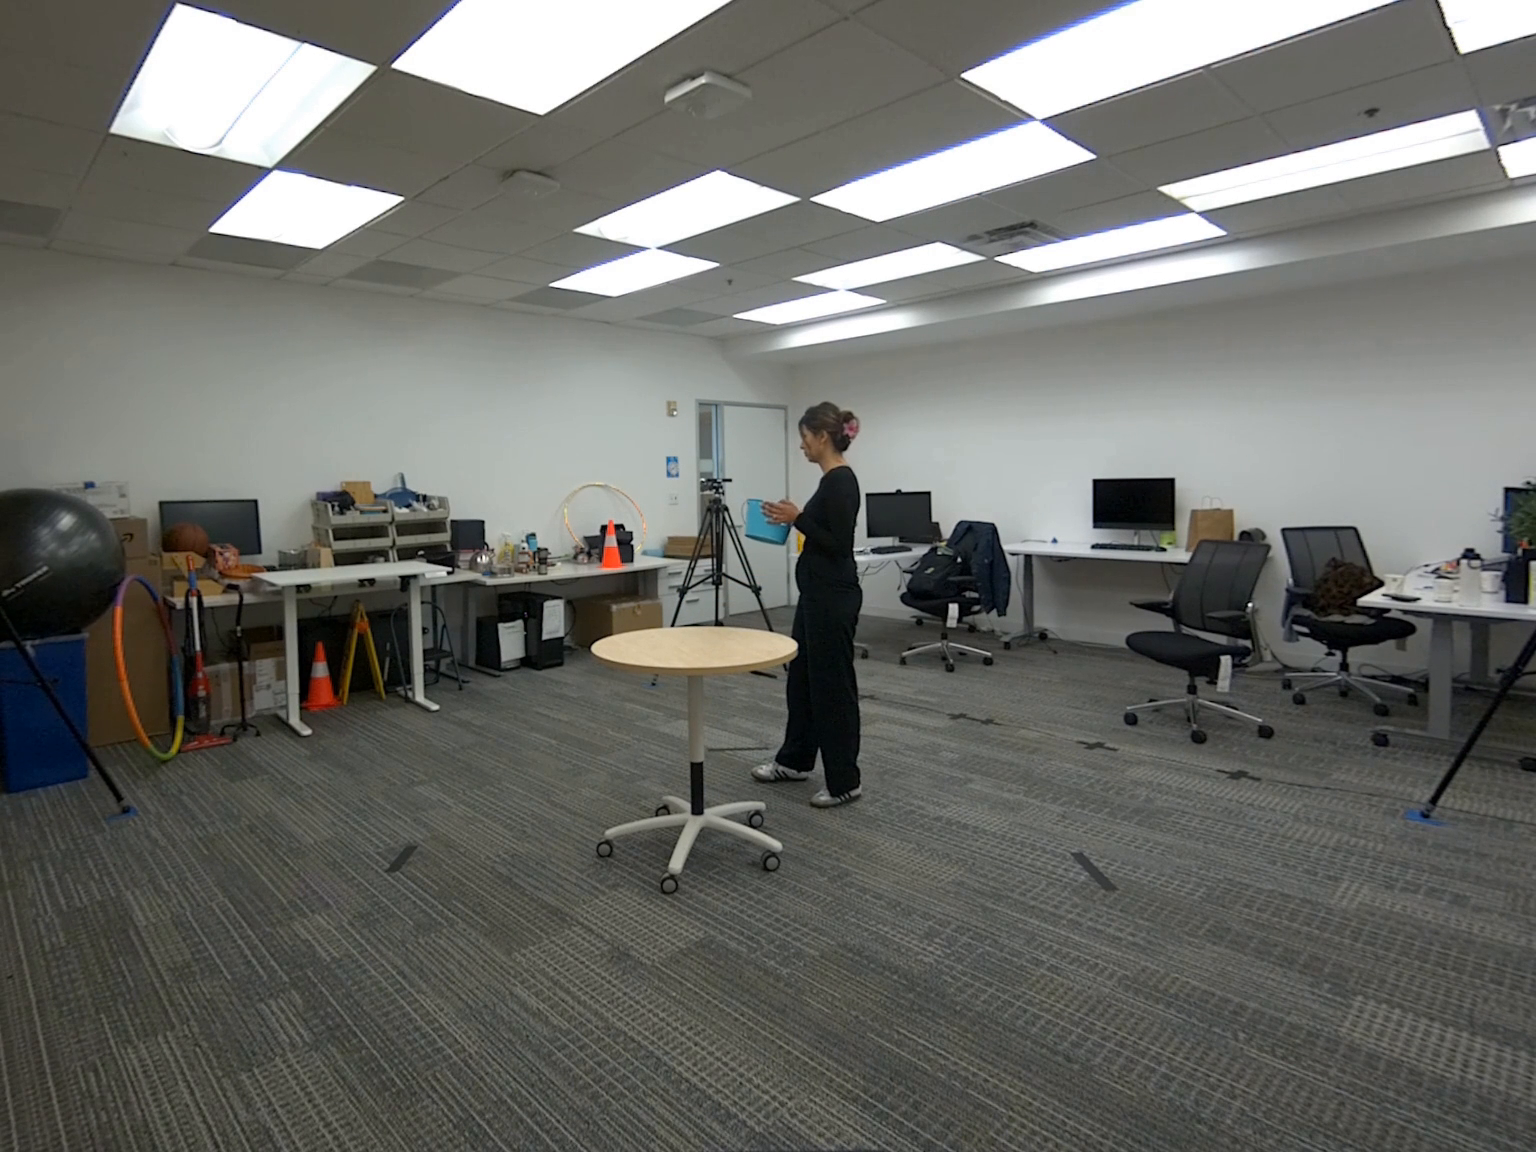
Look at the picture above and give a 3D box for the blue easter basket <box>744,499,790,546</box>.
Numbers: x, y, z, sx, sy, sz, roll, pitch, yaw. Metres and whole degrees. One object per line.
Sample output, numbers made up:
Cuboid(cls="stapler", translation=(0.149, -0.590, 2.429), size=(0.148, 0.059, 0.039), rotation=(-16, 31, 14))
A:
Cuboid(cls="blue easter basket", translation=(0.010, -0.230, 3.701), size=(0.243, 0.156, 0.243), rotation=(14, -2, -1))
